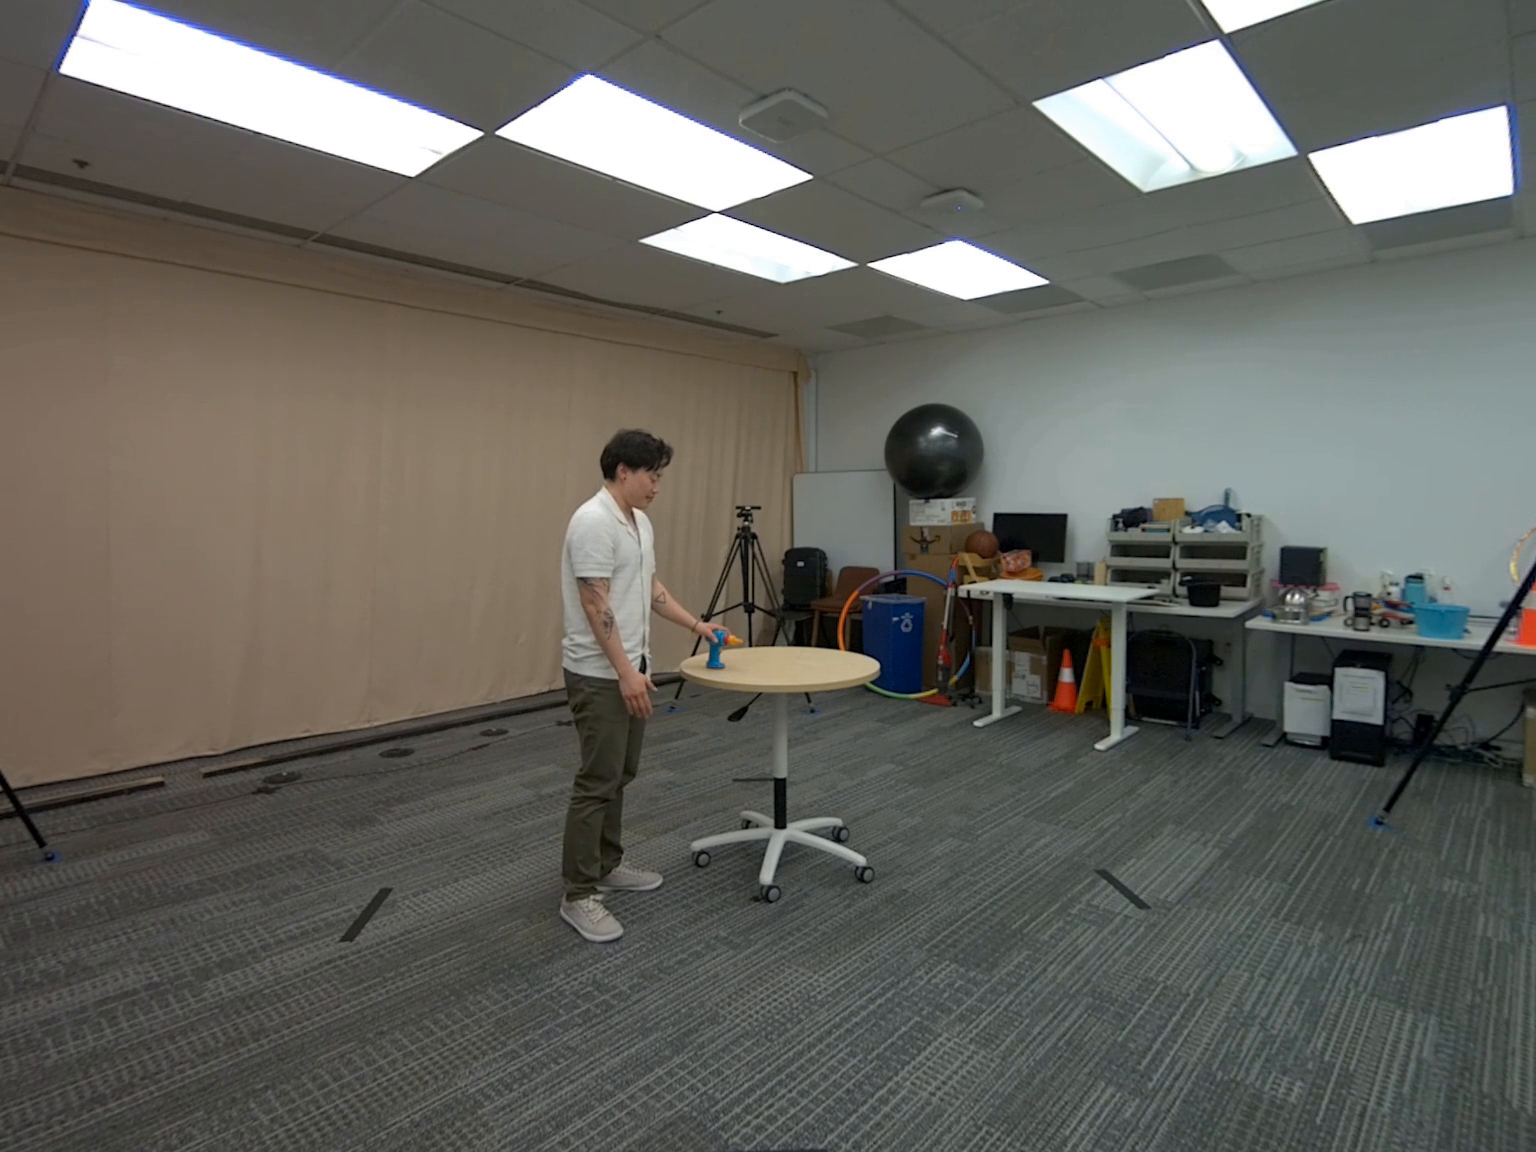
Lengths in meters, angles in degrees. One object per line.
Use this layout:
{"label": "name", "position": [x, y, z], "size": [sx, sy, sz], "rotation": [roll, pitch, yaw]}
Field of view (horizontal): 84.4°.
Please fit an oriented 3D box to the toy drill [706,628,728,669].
{"label": "toy drill", "position": [-0.164, 0.279, 3.161], "size": [0.174, 0.145, 0.060], "rotation": [2, 5, 27]}
